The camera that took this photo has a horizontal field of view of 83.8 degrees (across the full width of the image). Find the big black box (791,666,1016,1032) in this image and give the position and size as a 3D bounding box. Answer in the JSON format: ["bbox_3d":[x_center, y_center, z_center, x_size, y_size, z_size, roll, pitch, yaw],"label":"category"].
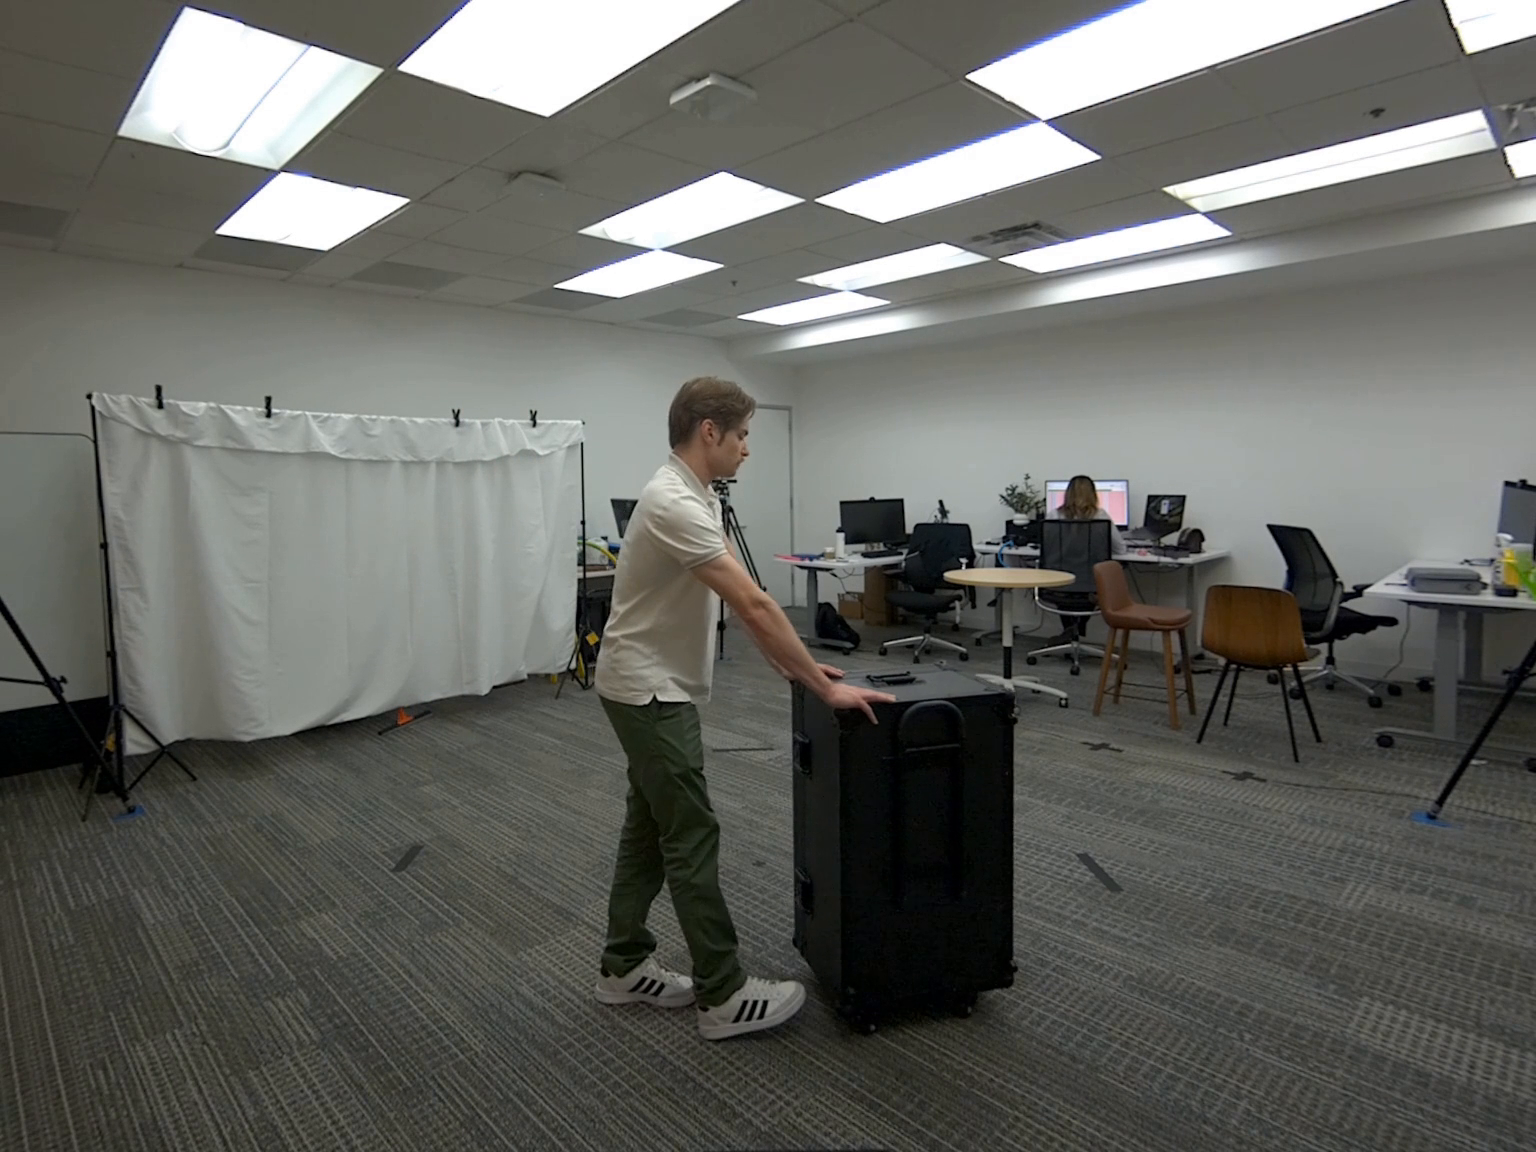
[{"bbox_3d":[0.364,0.710,2.308,0.515,0.865,0.392,-4,4,-17],"label":"big black box"}]
